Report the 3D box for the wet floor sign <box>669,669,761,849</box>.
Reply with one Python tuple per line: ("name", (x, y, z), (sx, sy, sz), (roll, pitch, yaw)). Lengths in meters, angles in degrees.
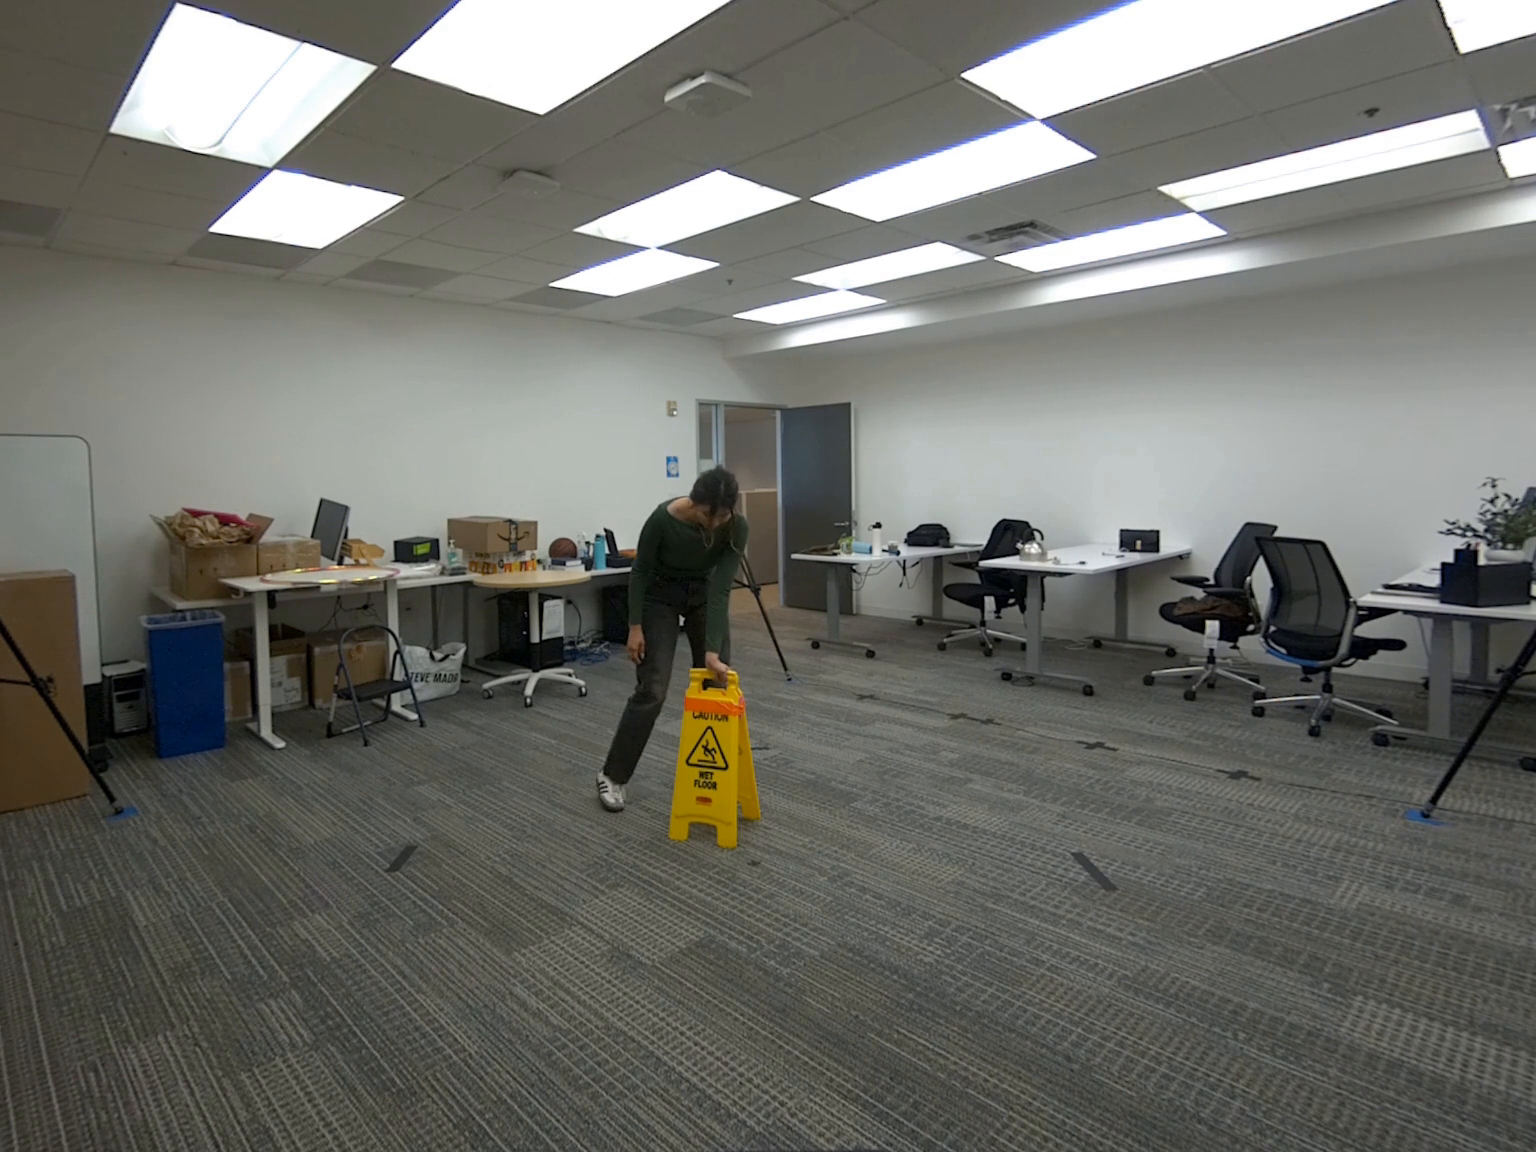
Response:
("wet floor sign", (-0.214, 0.689, 3.398), (0.288, 0.644, 0.285), (0, 4, 20))
